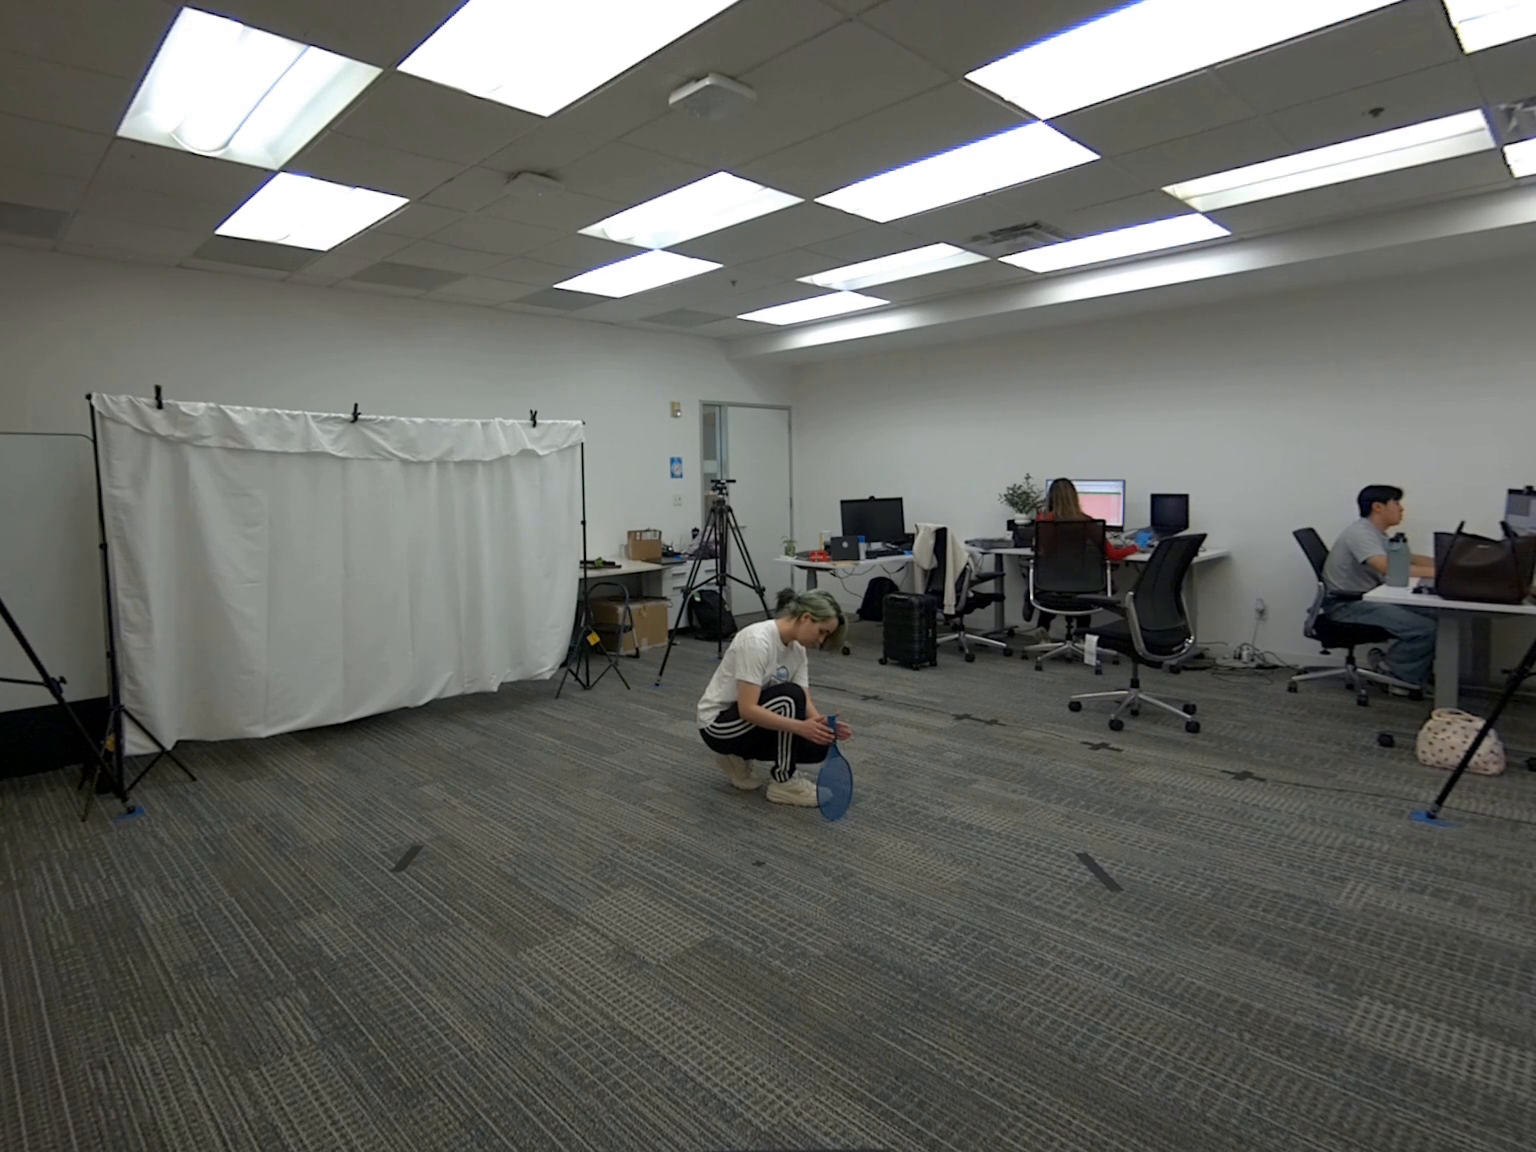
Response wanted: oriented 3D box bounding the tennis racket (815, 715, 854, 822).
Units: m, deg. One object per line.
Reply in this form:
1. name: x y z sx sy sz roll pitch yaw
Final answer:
1. tennis racket: 0.274 0.783 3.492 0.208 0.431 0.033 -6 4 -42
